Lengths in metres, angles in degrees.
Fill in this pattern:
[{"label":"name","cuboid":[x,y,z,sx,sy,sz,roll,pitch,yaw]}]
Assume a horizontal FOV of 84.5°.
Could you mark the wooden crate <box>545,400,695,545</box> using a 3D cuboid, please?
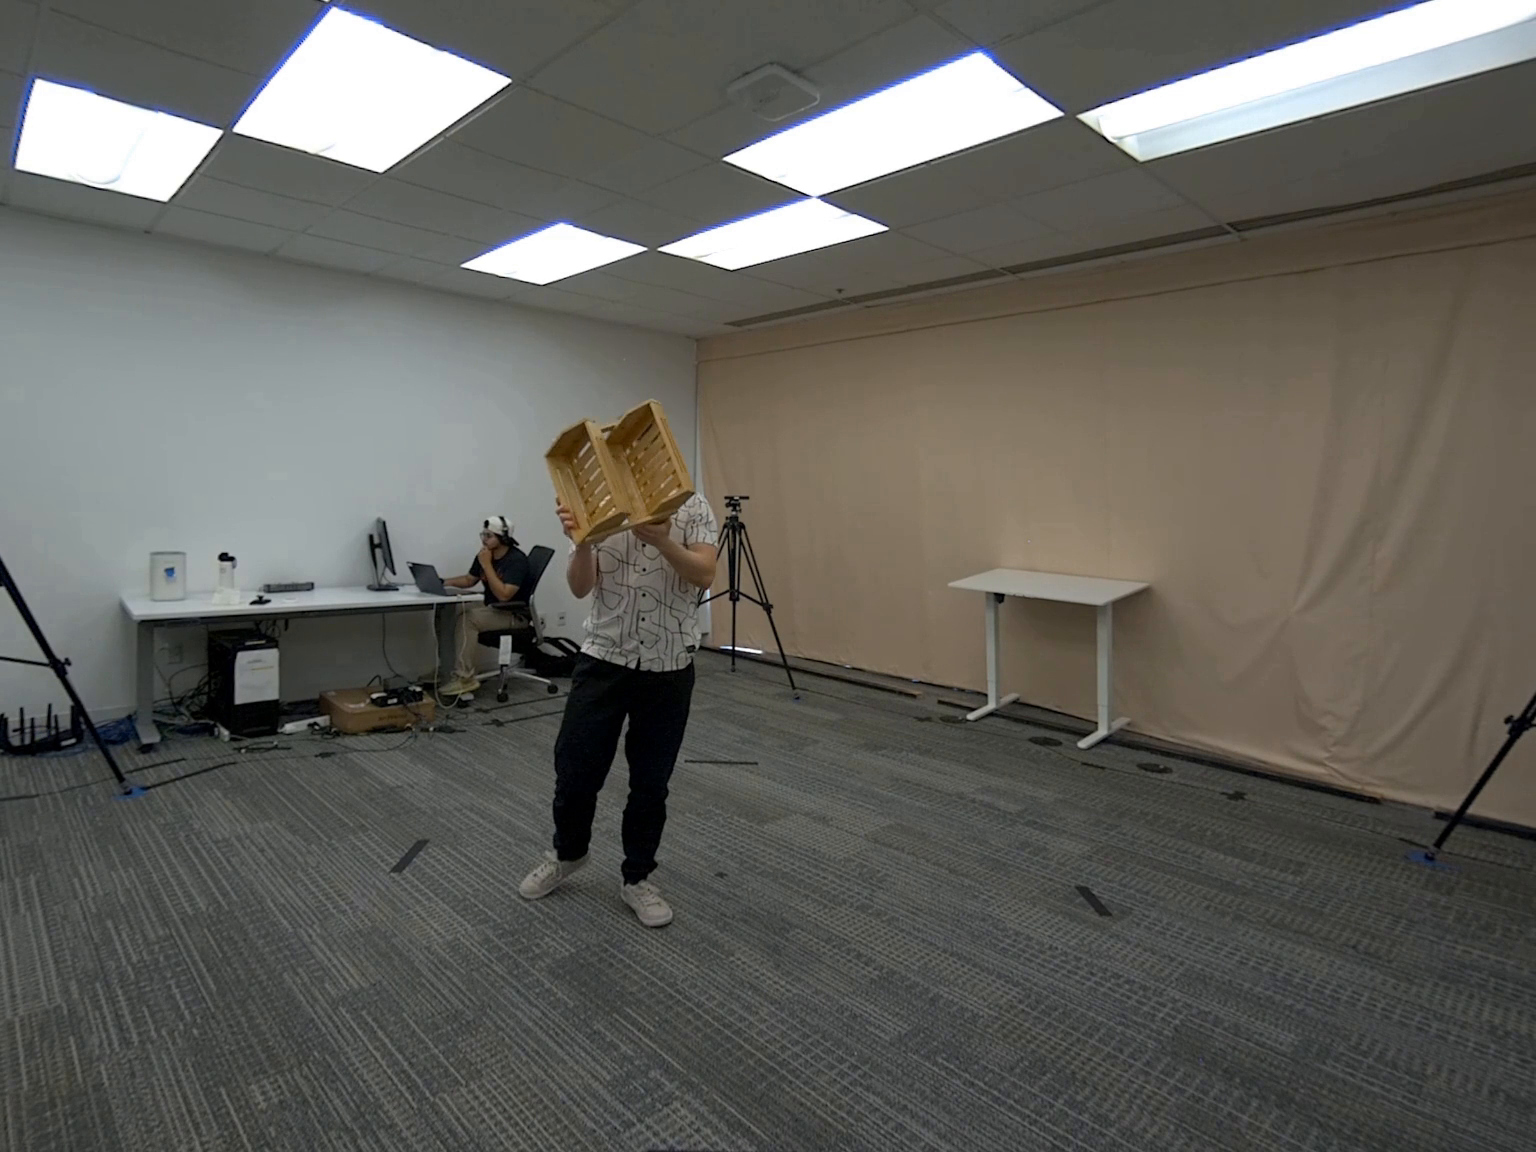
[{"label":"wooden crate","cuboid":[-0.441,-0.299,2.417,0.268,0.329,0.303,-10,-19,-40]}]
